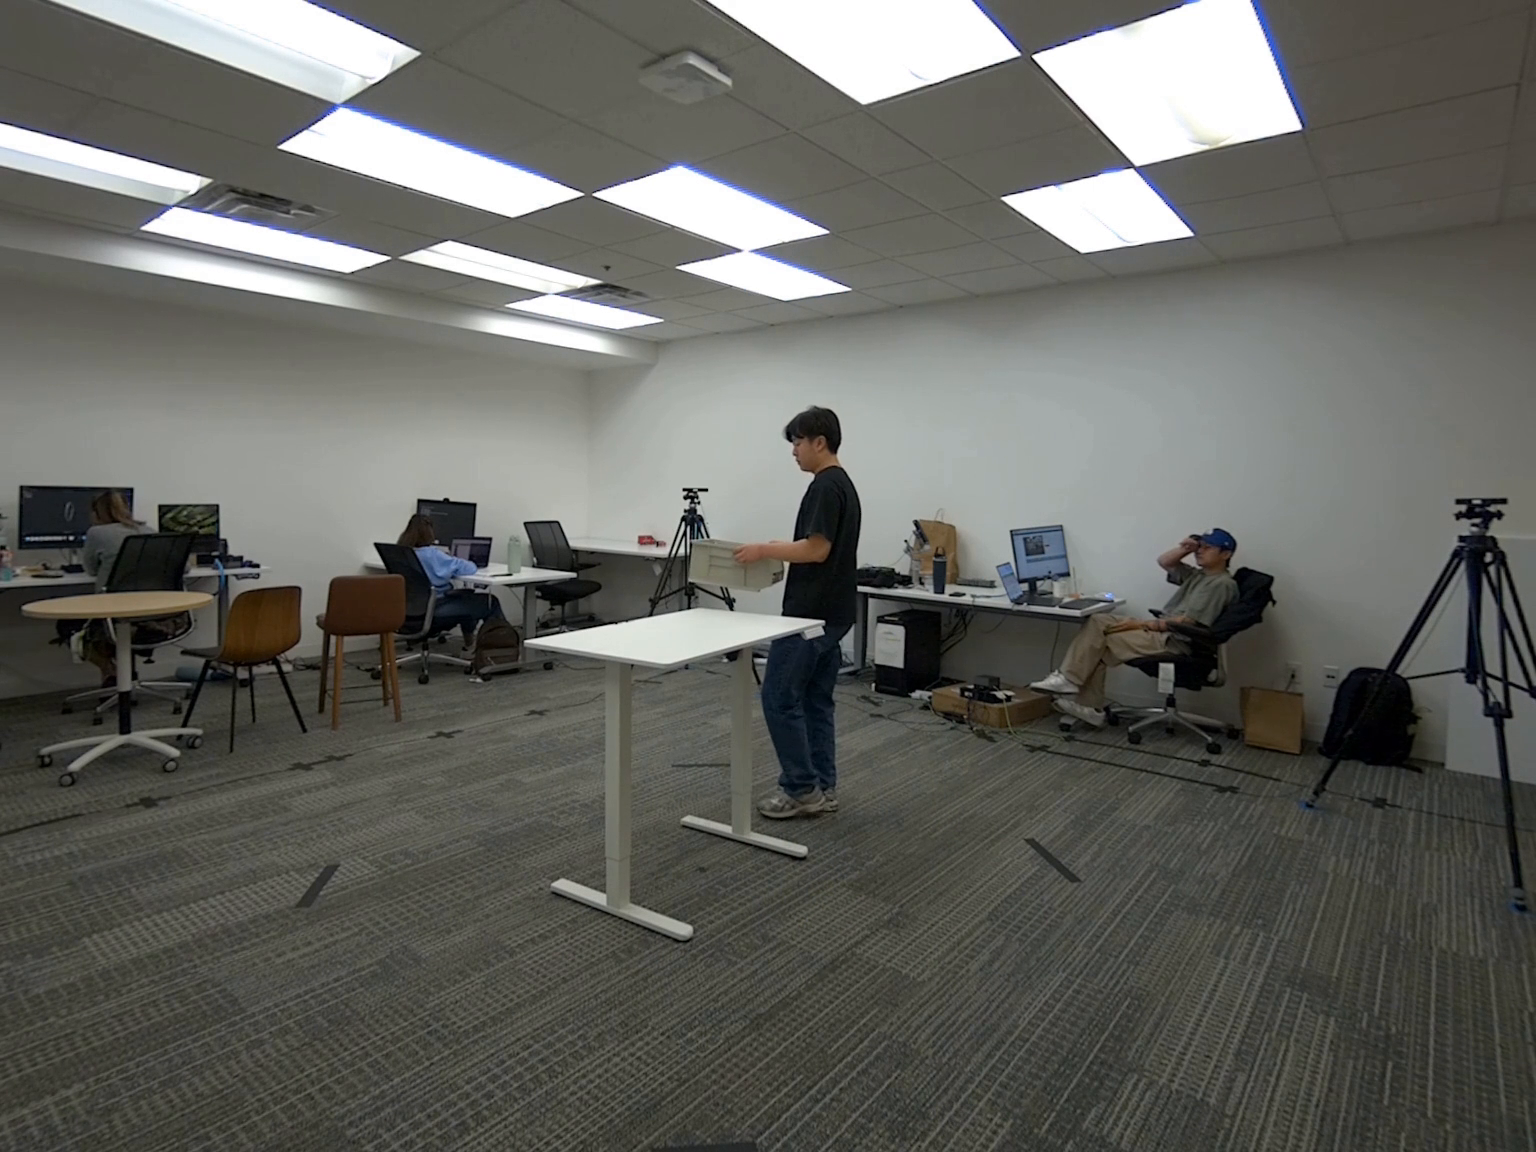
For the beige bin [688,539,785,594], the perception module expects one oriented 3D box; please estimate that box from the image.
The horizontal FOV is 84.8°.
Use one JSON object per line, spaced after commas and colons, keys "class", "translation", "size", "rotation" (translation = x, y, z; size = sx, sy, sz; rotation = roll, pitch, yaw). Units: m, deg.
{"class": "beige bin", "translation": [-0.147, -0.054, 3.851], "size": [0.381, 0.188, 0.419], "rotation": [7, 5, 7]}
